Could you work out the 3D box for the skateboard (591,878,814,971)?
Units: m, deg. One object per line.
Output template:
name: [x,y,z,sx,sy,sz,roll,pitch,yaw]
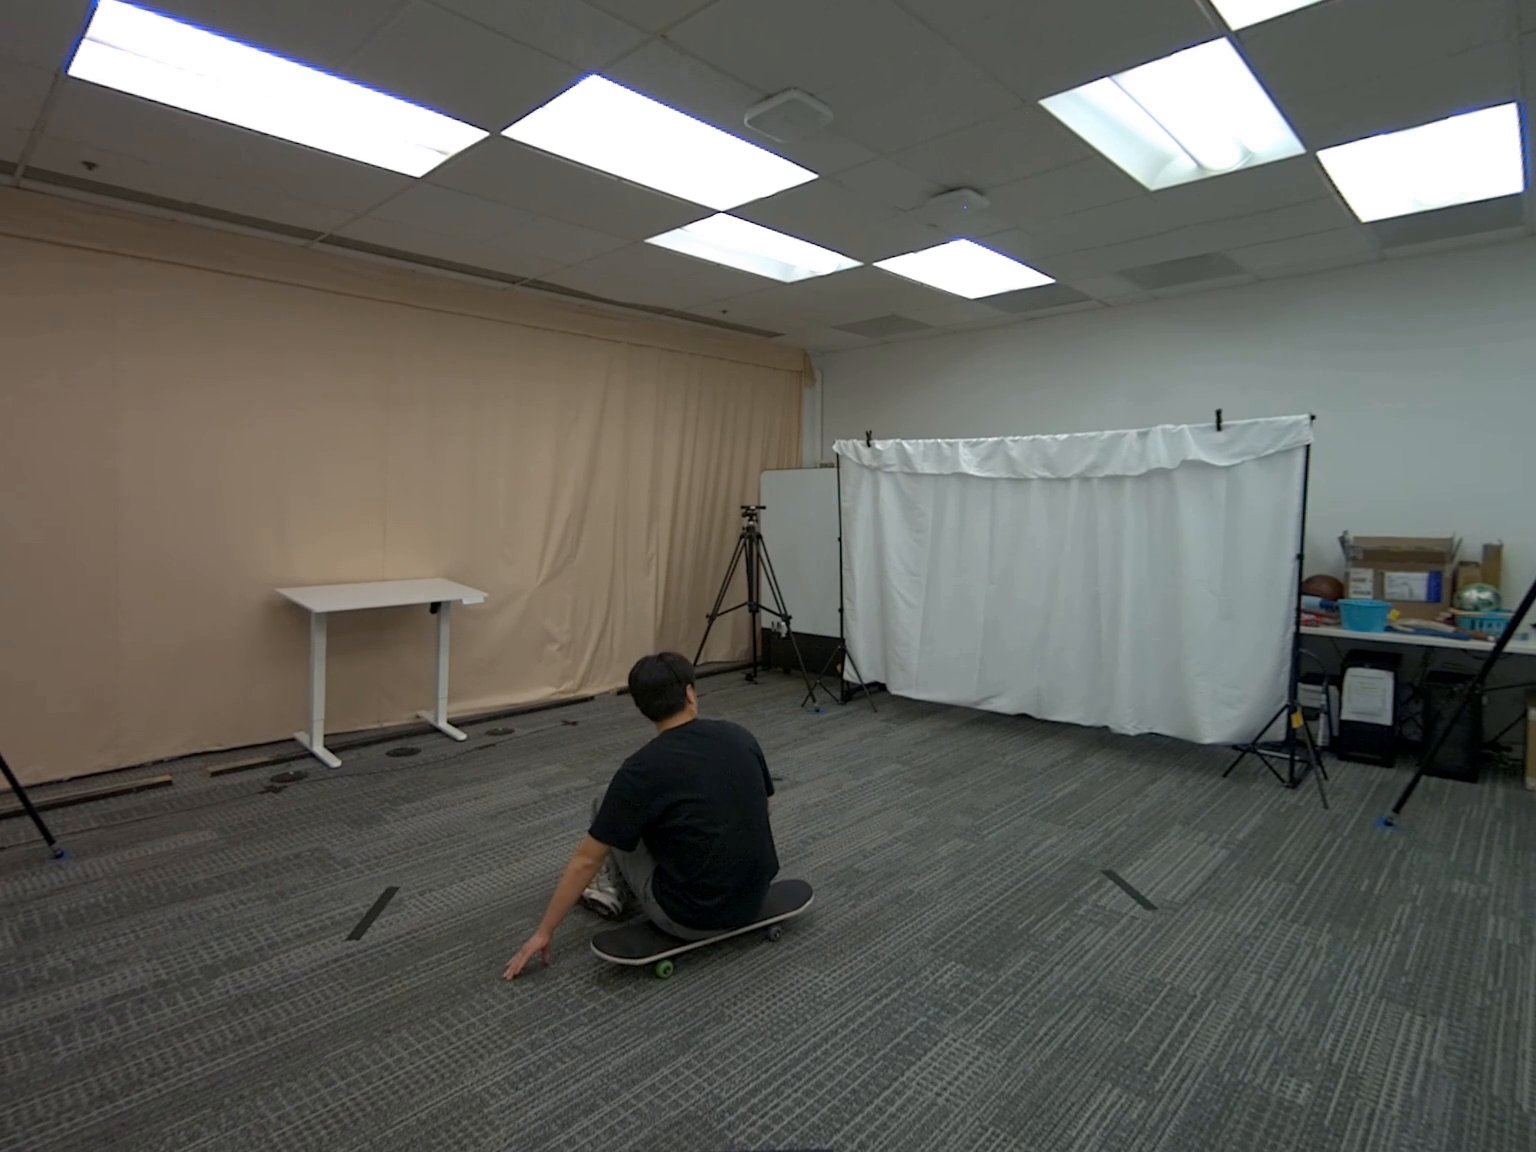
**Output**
skateboard: [-0.190,1.120,2.656,0.764,0.110,0.199,-4,8,-32]
